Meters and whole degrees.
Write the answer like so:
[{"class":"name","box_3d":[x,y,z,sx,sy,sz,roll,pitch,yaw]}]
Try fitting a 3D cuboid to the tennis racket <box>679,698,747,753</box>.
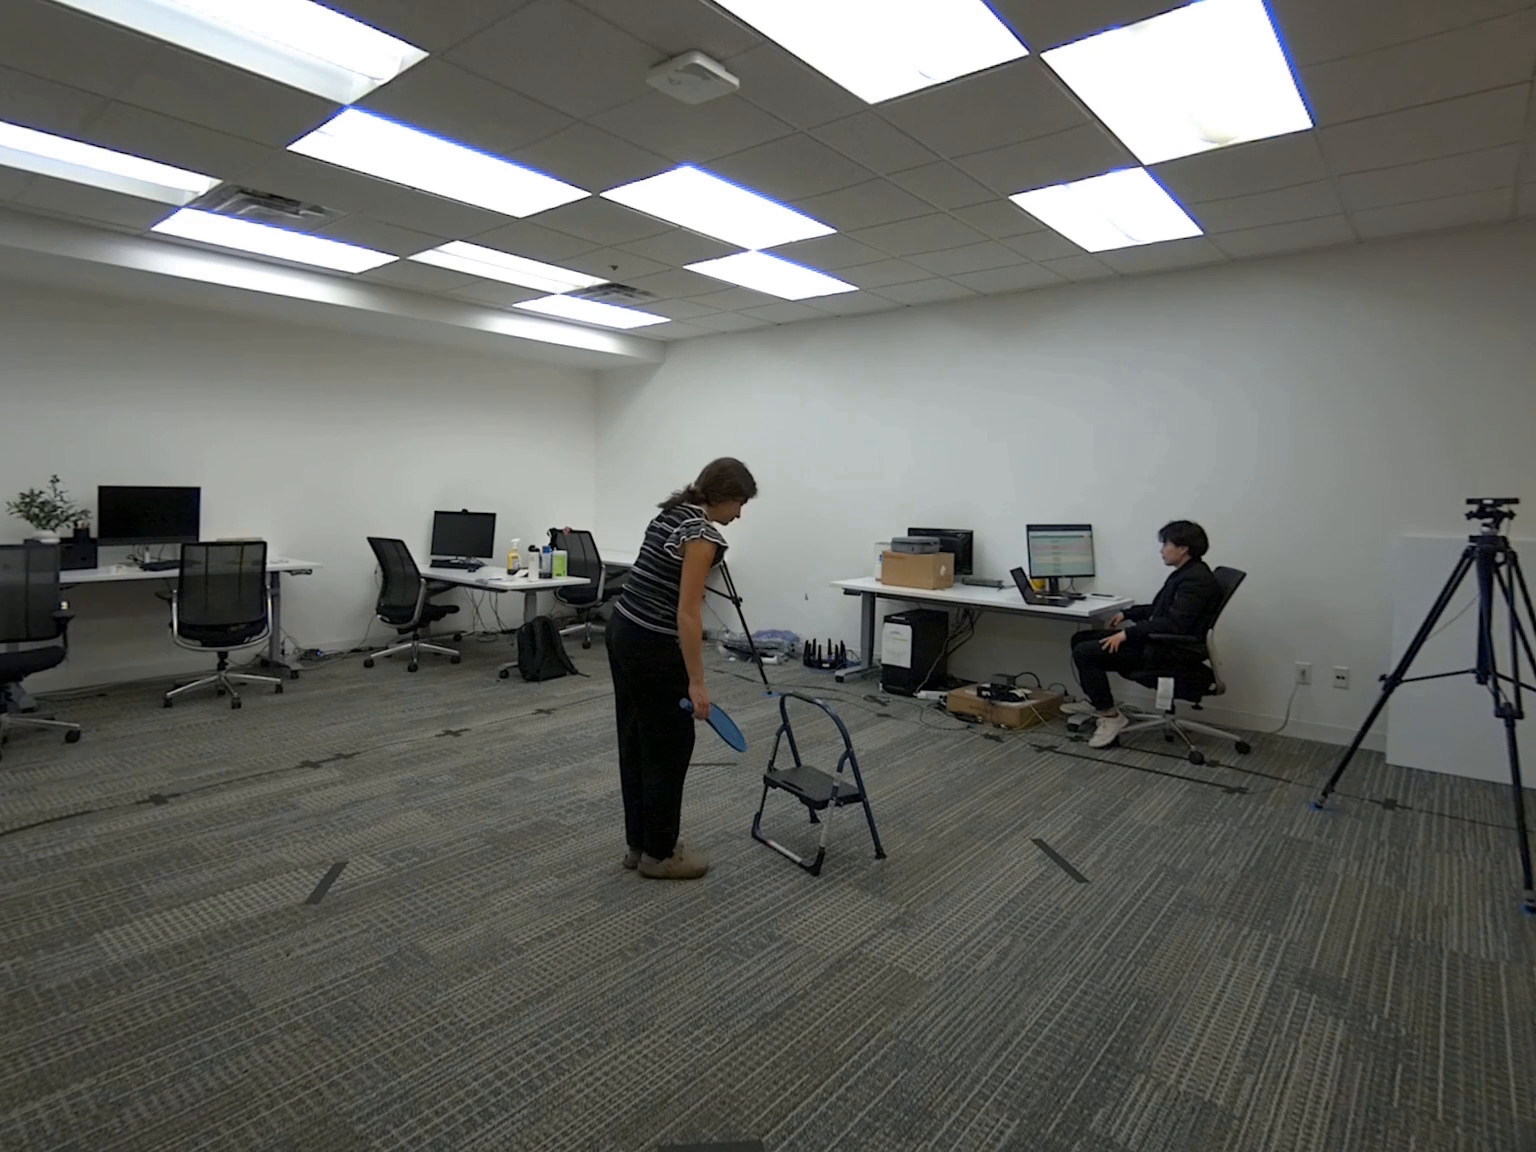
[{"class":"tennis racket","box_3d":[-0.204,0.515,3.036,0.032,0.222,0.416,-29,-36,3]}]
